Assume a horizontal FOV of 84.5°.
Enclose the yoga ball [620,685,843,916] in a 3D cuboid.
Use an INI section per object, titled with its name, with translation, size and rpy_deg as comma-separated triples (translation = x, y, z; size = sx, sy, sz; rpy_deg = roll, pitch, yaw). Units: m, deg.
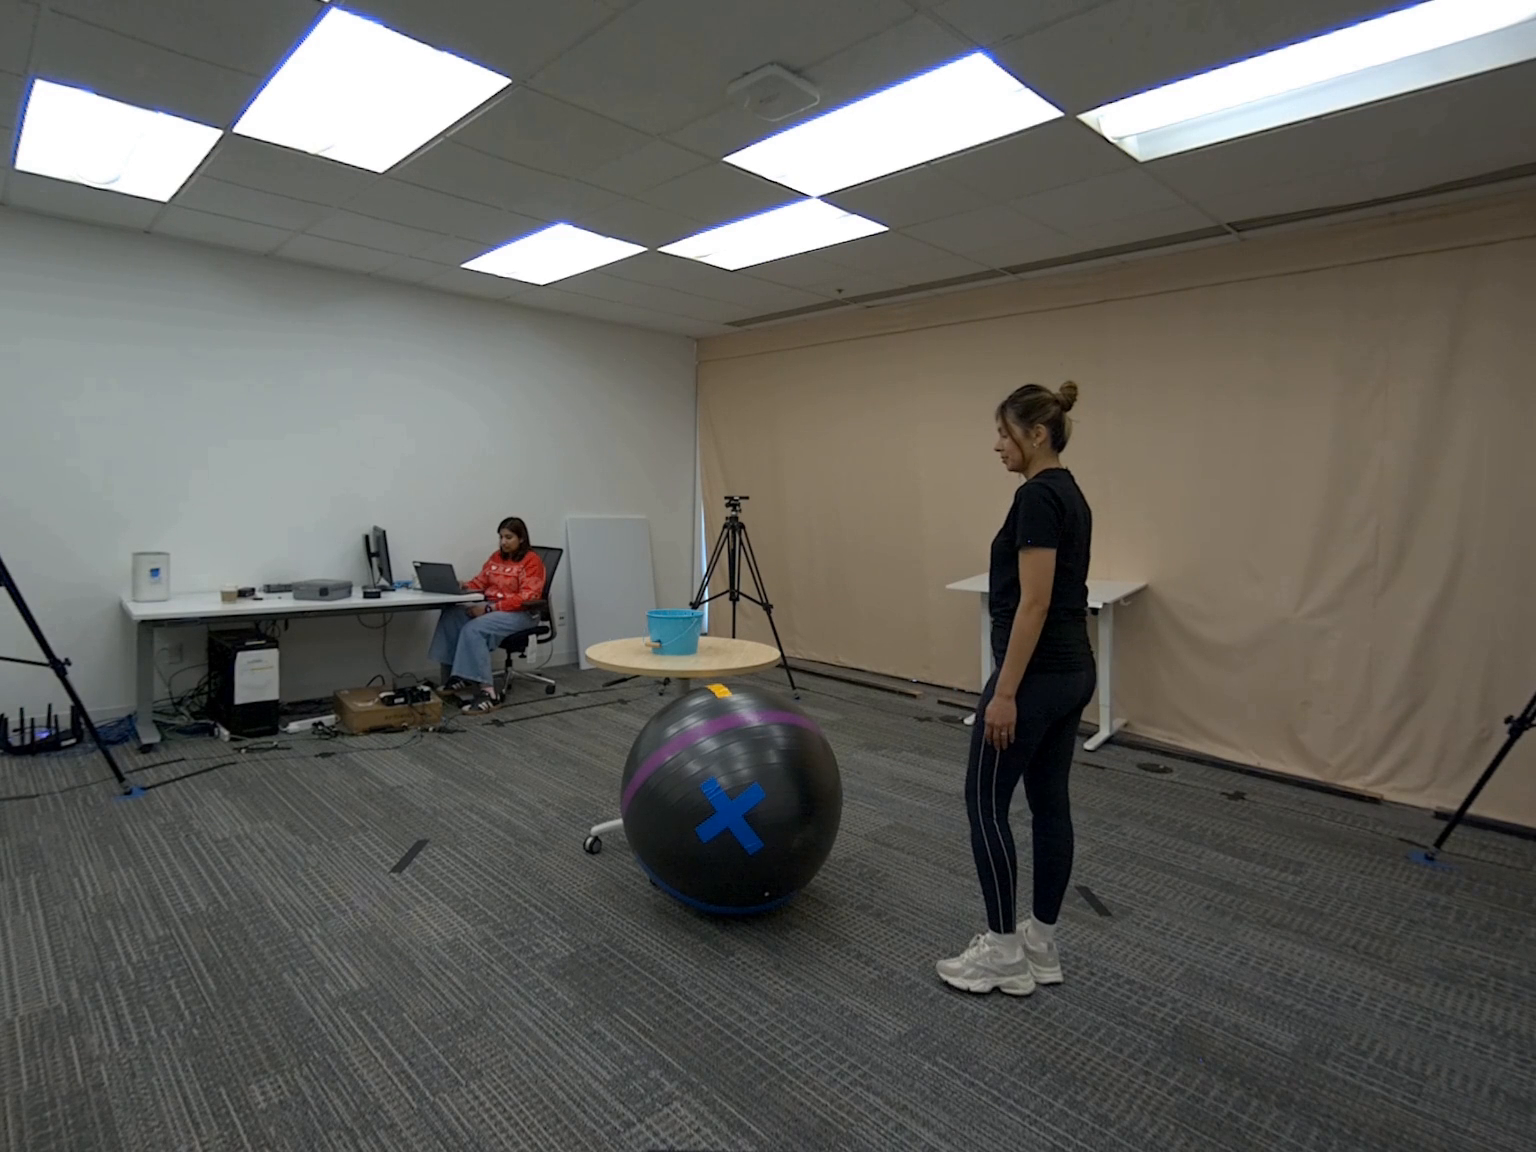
[yoga ball]
translation = -0.130, 0.756, 2.880
size = 0.757, 0.756, 0.761
rpy_deg = 1, 4, -1
